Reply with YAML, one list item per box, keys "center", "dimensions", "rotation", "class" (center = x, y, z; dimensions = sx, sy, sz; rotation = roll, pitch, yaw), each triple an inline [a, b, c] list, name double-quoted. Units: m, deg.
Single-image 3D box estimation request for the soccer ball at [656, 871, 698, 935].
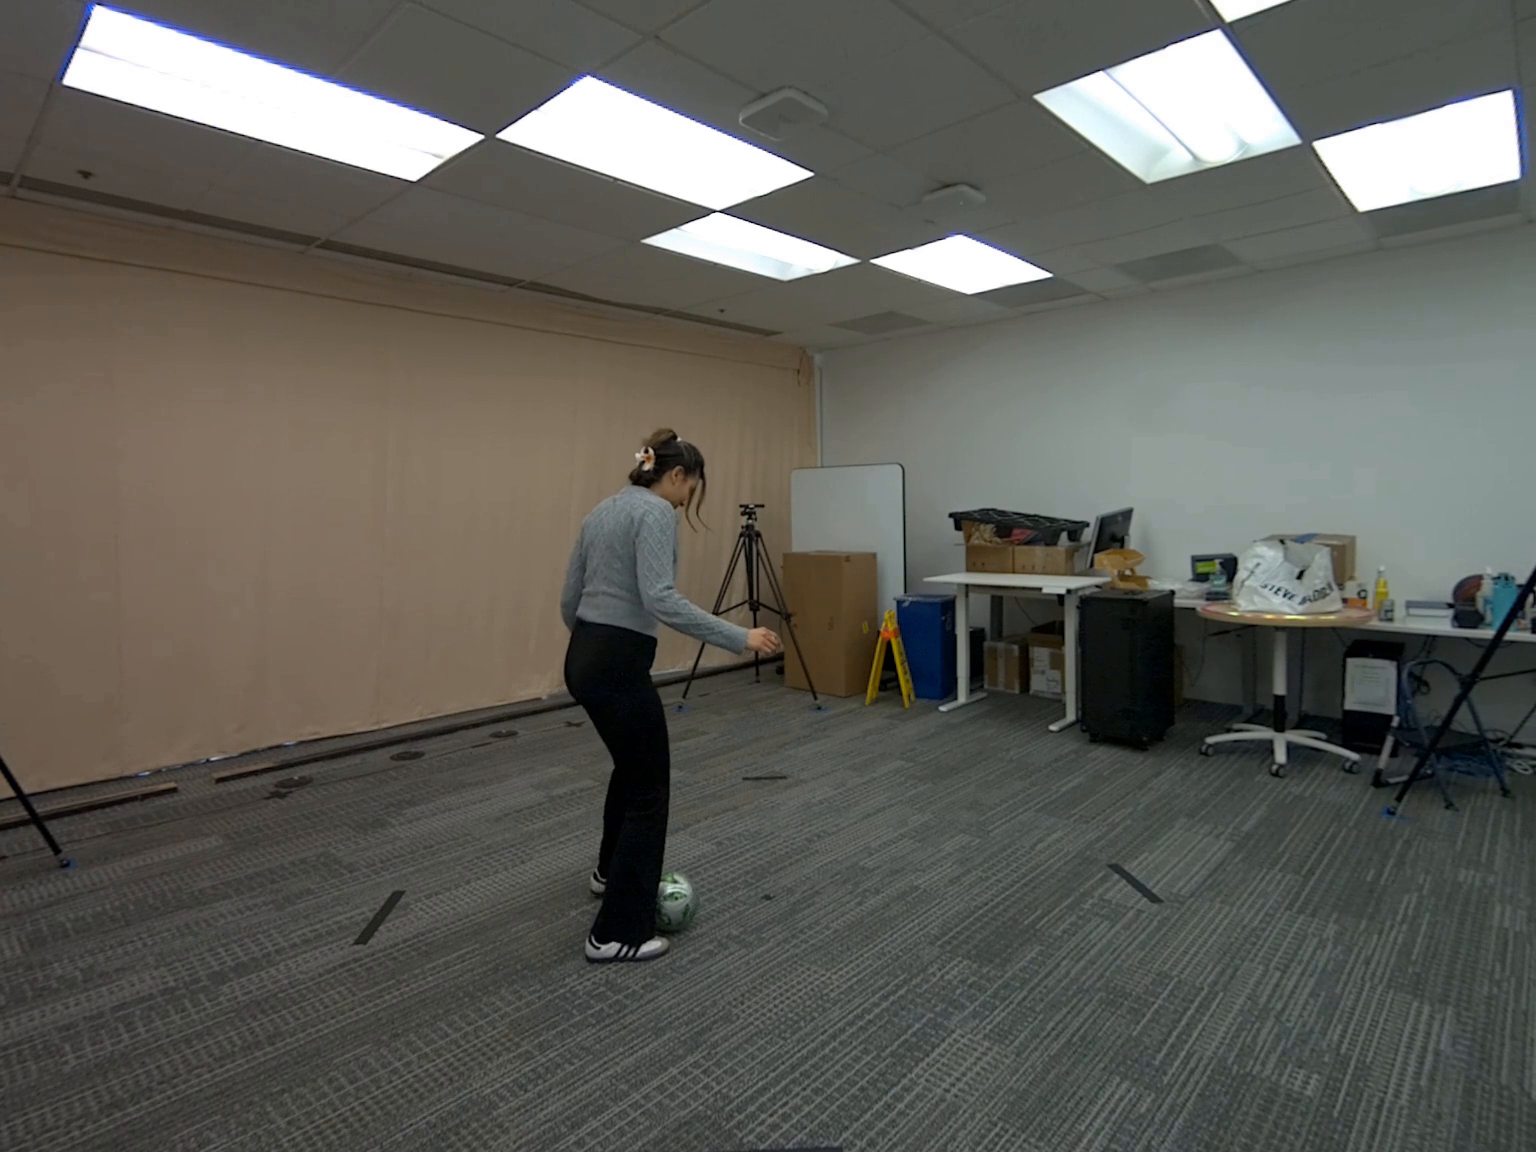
- center: [-0.325, 1.074, 2.778]
  dimensions: [0.187, 0.187, 0.188]
  rotation: [-1, 4, -2]
  class: "soccer ball"
